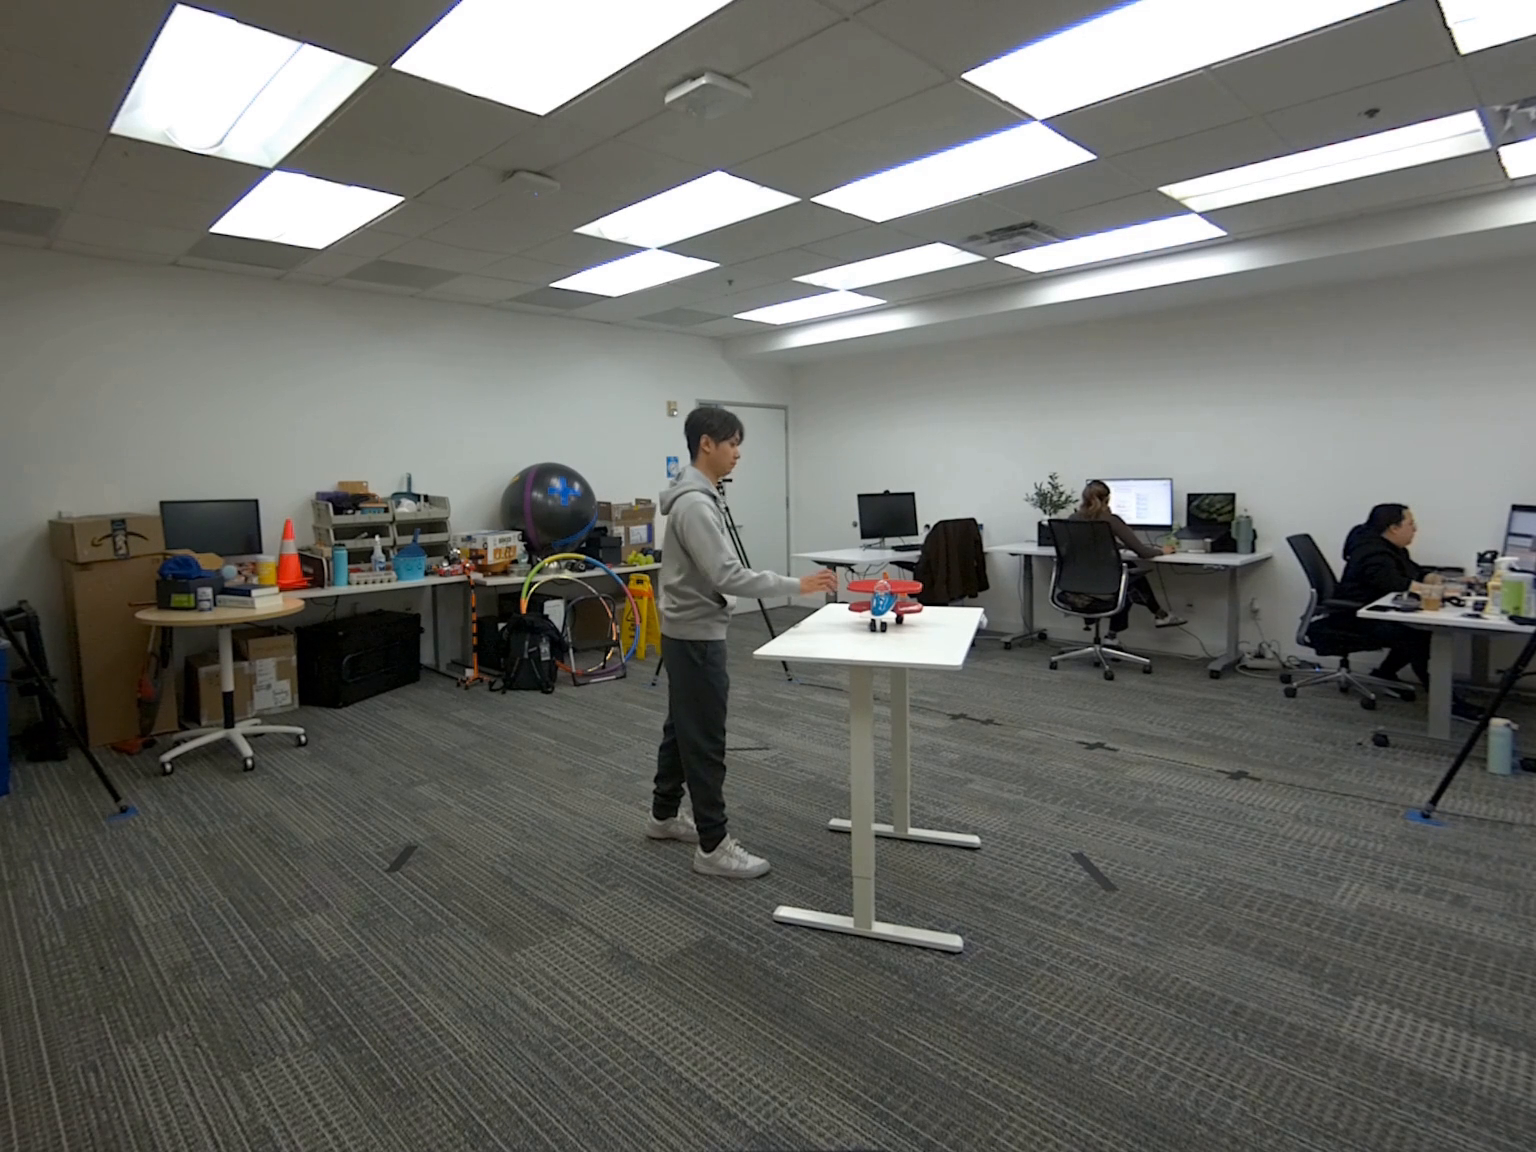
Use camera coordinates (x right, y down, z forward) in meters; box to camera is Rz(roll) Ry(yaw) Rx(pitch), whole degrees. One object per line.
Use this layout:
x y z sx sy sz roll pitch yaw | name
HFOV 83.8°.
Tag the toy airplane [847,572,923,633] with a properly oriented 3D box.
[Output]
0.413 0.100 2.914 0.249 0.156 0.263 -2 6 -10 | toy airplane
